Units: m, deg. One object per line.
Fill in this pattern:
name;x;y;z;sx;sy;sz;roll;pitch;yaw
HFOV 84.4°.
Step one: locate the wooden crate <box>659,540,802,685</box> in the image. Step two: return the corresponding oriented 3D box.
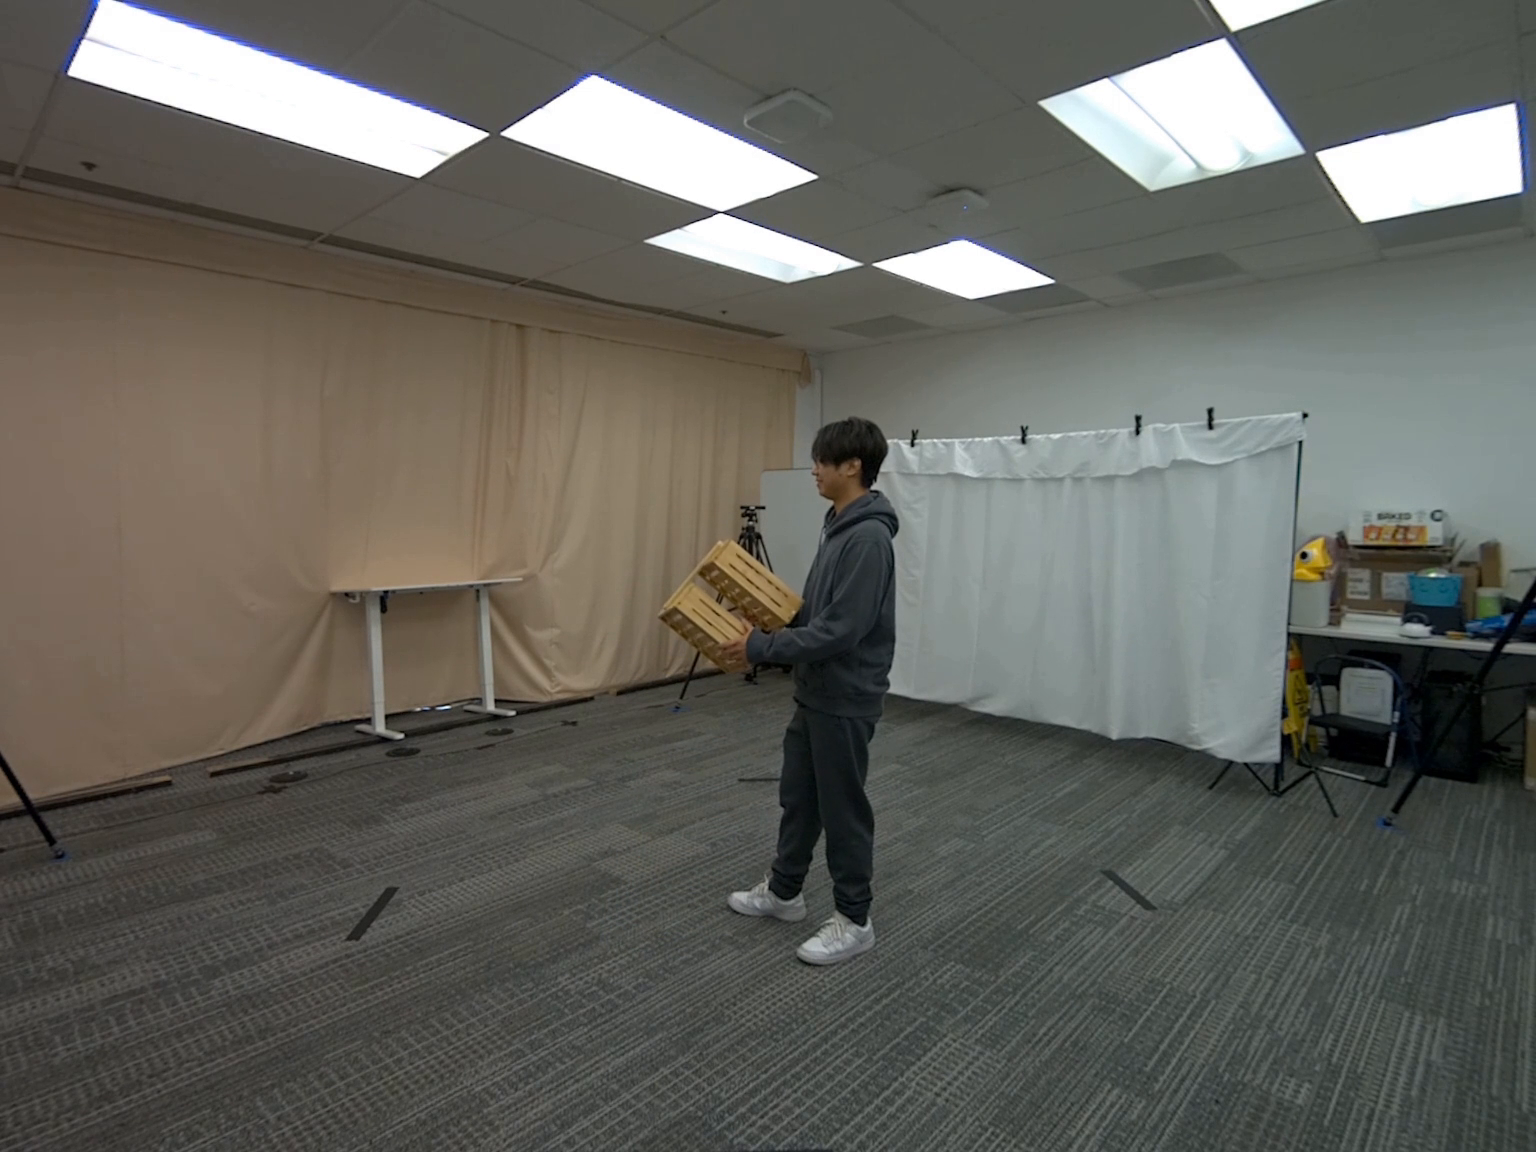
wooden crate;-0.123;0.103;2.649;0.322;0.272;0.305;40;-21;-7
